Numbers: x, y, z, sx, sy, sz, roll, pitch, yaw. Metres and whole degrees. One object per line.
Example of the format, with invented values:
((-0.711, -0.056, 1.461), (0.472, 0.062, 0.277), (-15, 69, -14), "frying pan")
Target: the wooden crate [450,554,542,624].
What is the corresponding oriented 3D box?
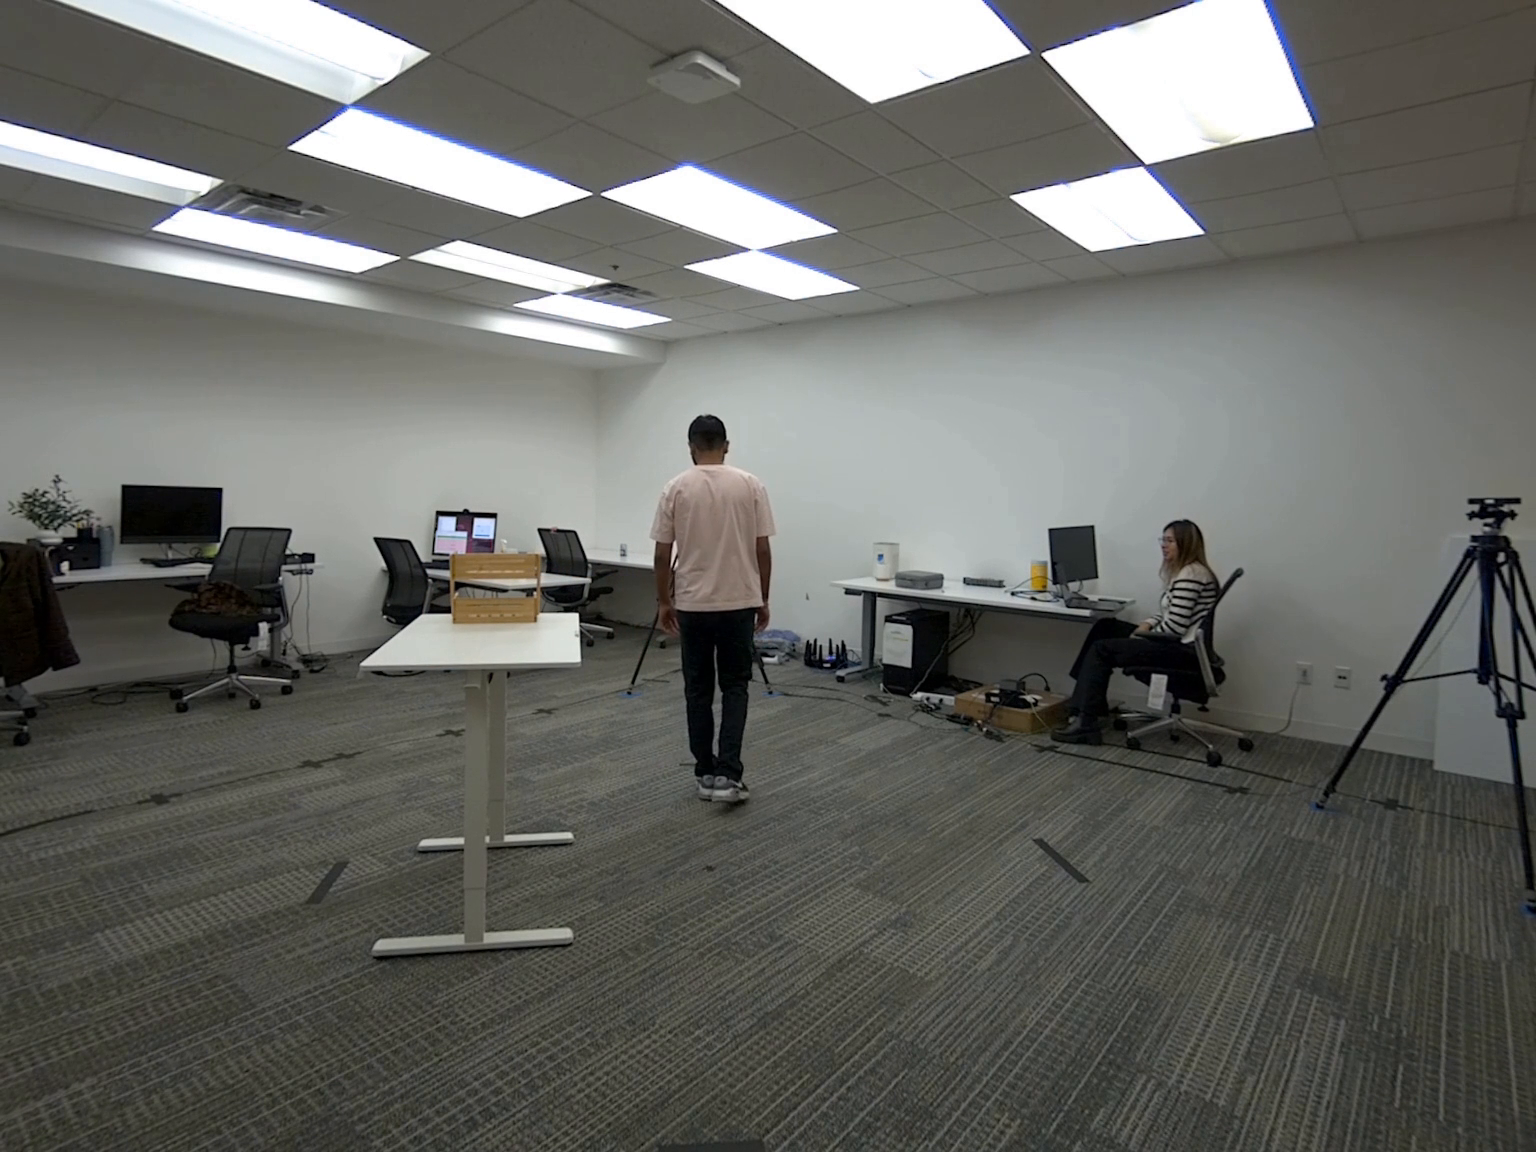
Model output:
((-1.050, 0.032, 3.222), (0.320, 0.272, 0.307), (0, 4, -14), "wooden crate")
